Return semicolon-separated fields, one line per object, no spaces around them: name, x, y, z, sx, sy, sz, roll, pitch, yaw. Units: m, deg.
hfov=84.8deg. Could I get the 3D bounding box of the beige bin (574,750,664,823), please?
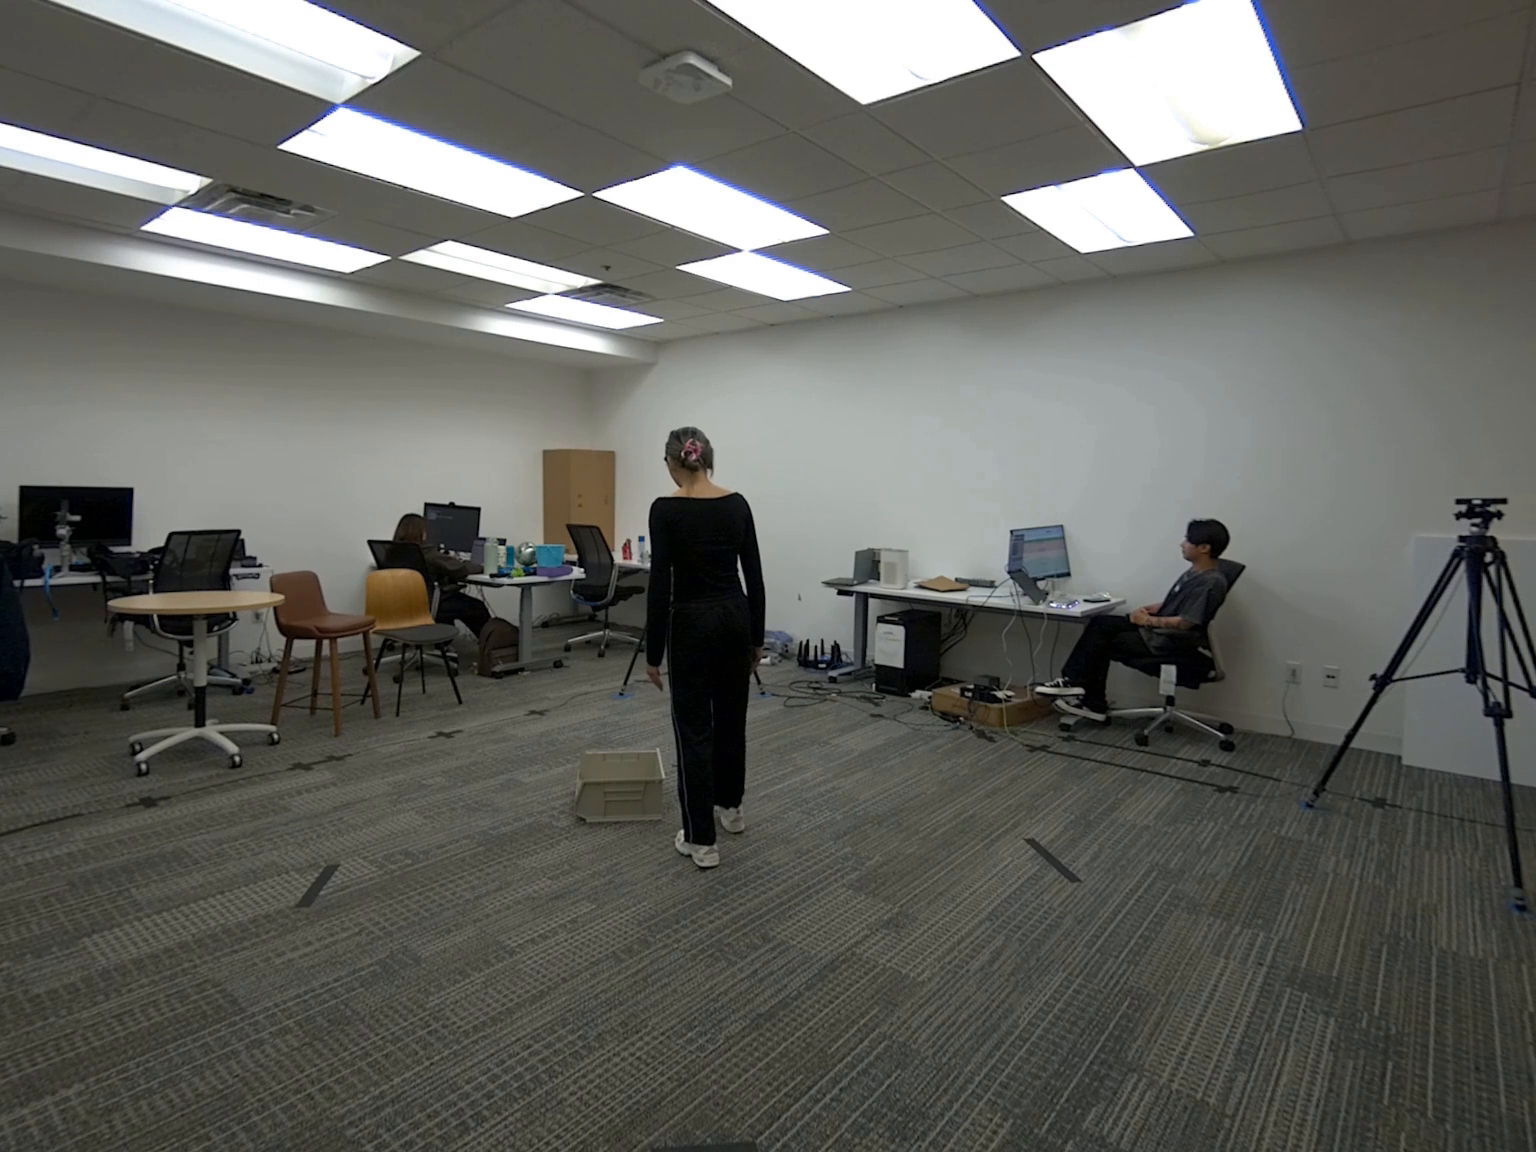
beige bin;-0.676;0.916;3.751;0.374;0.188;0.428;0;4;-10
